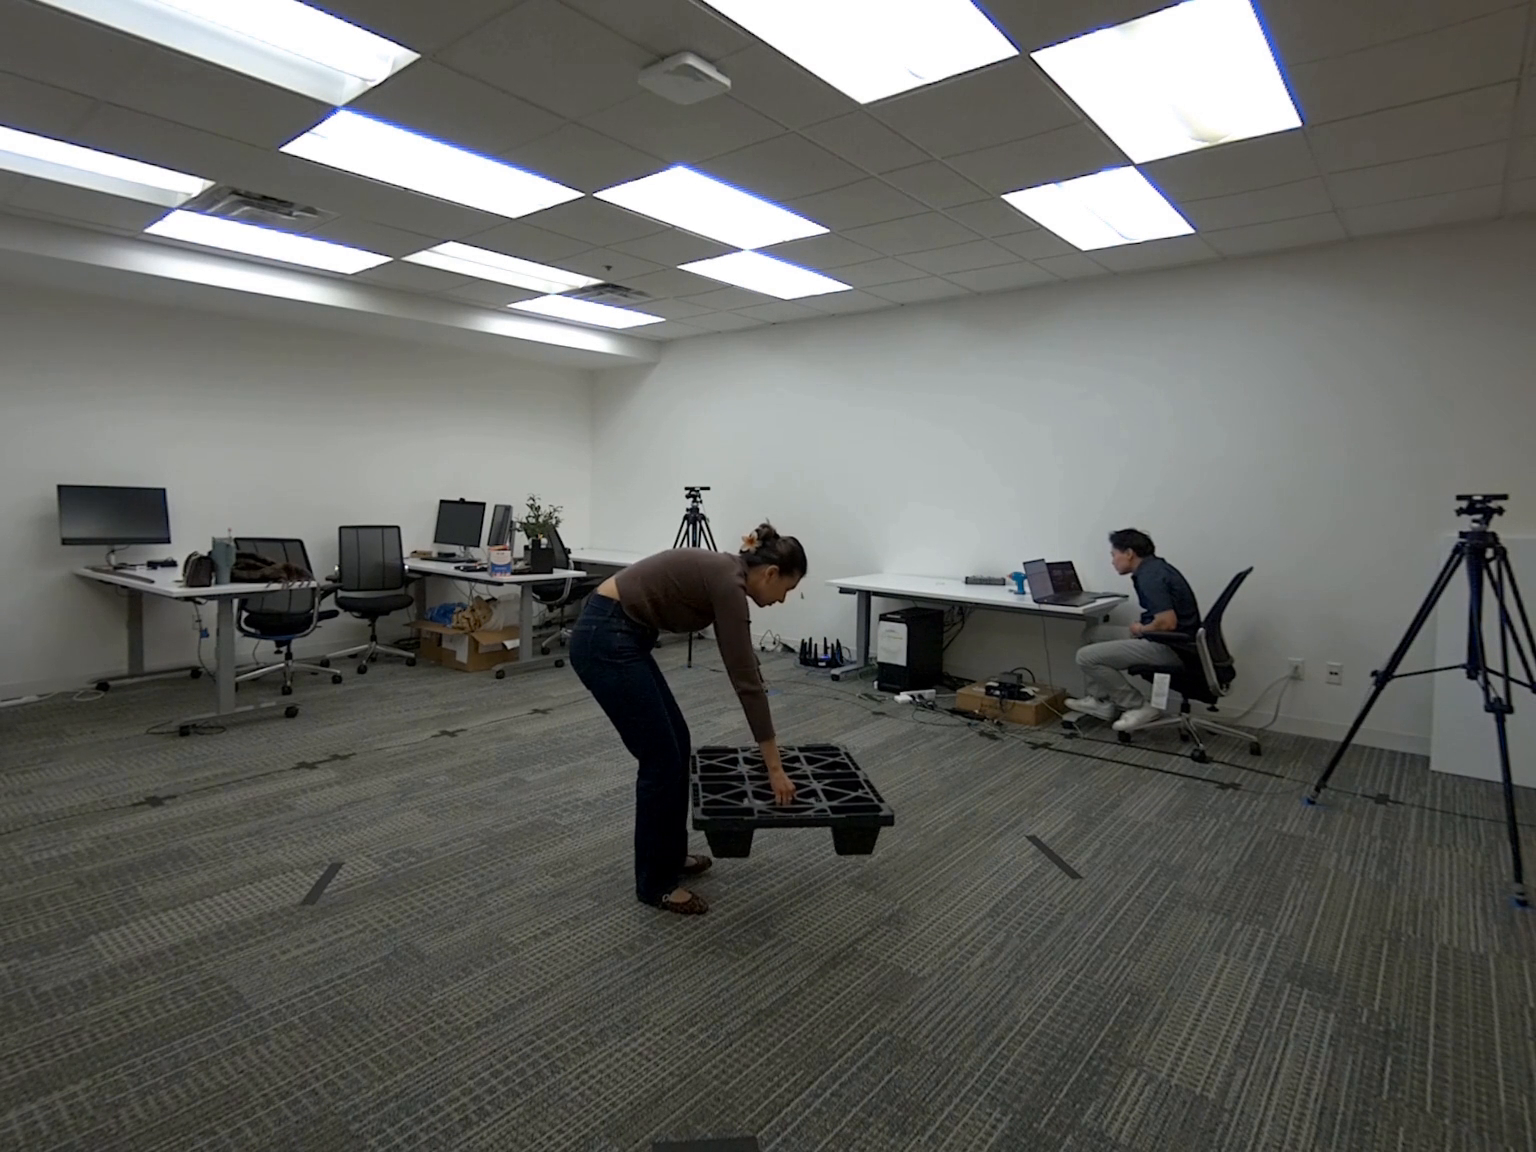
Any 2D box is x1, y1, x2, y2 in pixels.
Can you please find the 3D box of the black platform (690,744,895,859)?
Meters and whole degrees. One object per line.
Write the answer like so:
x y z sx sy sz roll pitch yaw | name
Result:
0.026 0.740 2.875 0.603 0.143 0.810 -1 4 -5 | black platform
